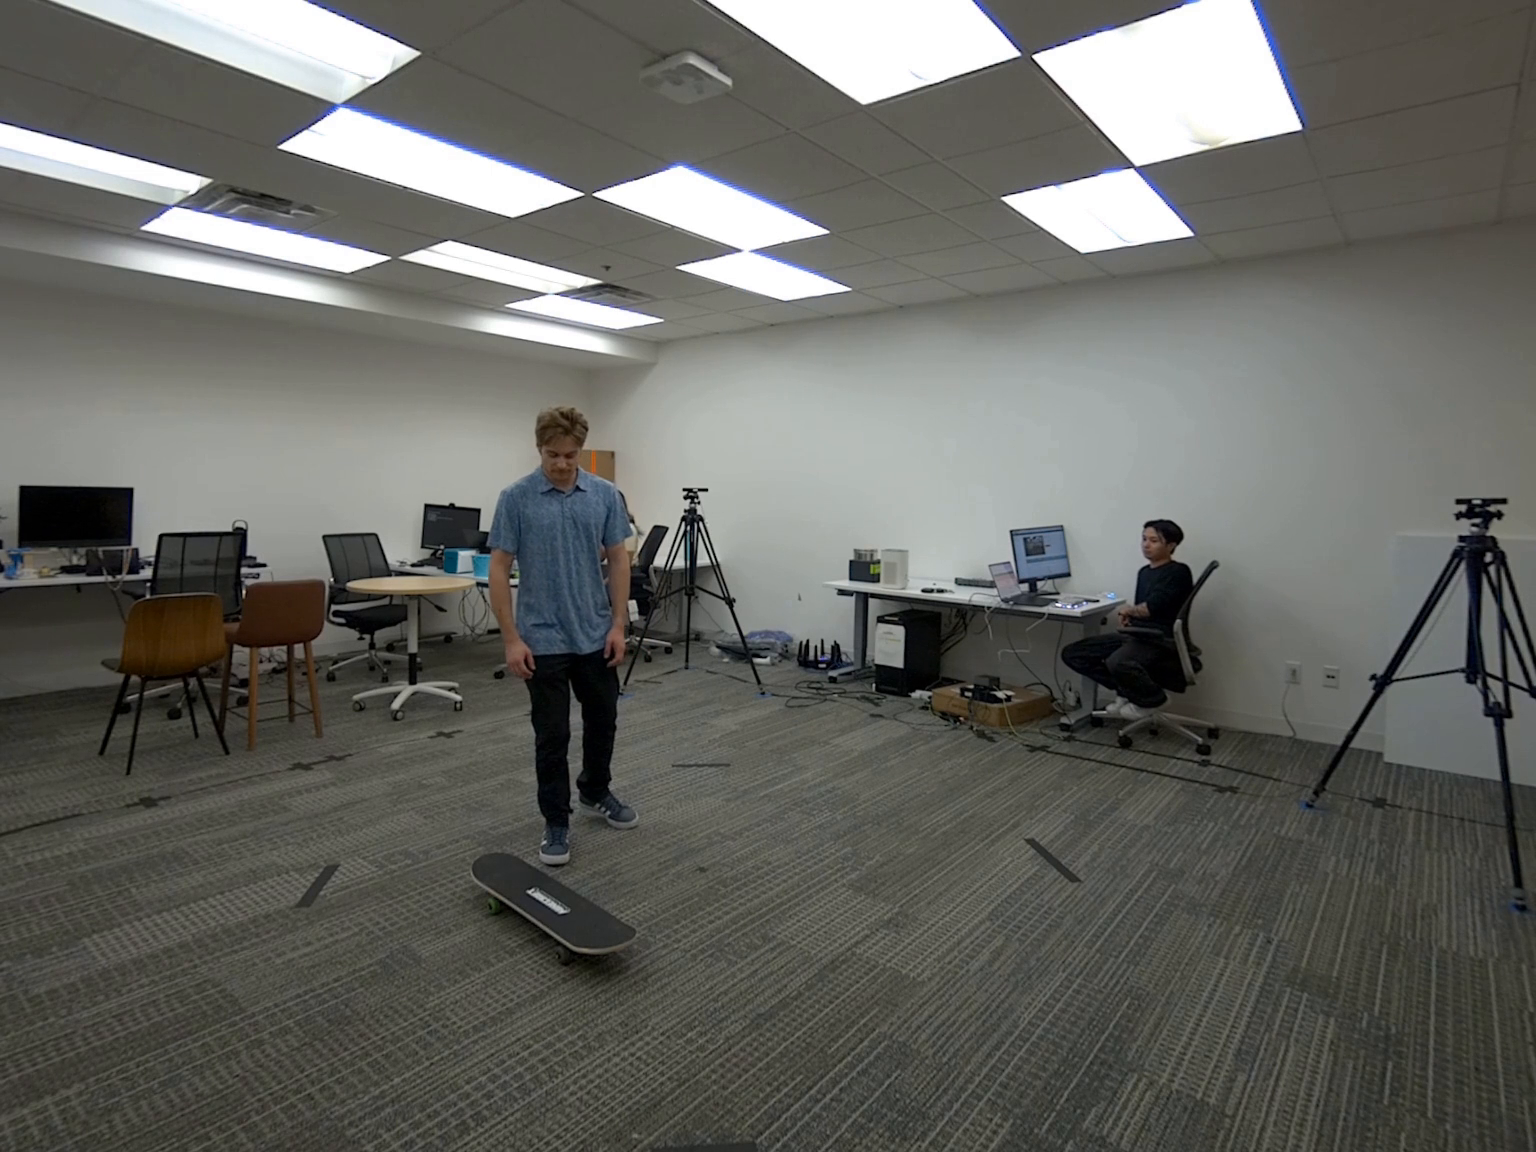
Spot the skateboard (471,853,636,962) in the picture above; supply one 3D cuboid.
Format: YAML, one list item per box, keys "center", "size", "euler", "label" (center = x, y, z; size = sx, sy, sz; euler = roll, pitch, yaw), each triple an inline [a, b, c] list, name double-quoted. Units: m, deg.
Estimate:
- center: [-0.703, 1.047, 2.670]
  size: [0.813, 0.110, 0.188]
  euler: [7, 8, 44]
  label: "skateboard"
